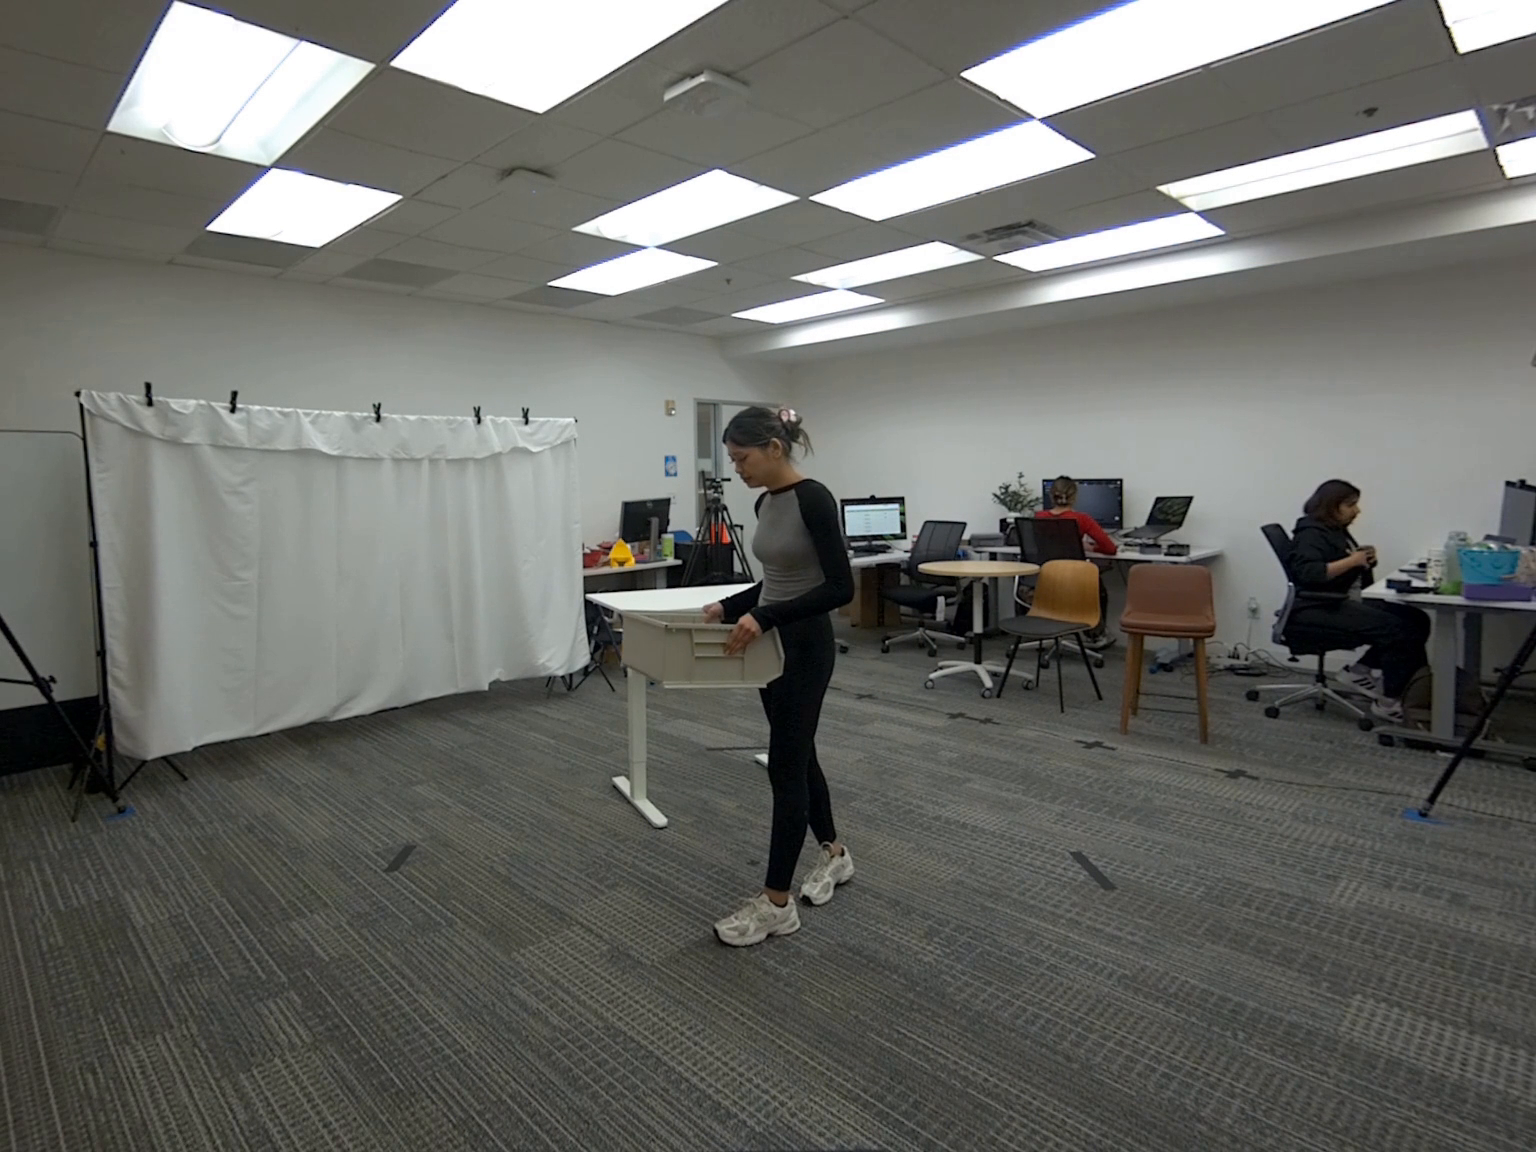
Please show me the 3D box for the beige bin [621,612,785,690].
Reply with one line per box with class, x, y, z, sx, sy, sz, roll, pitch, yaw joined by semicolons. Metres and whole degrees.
beige bin;-0.210;0.211;2.578;0.369;0.188;0.433;1;4;-25
